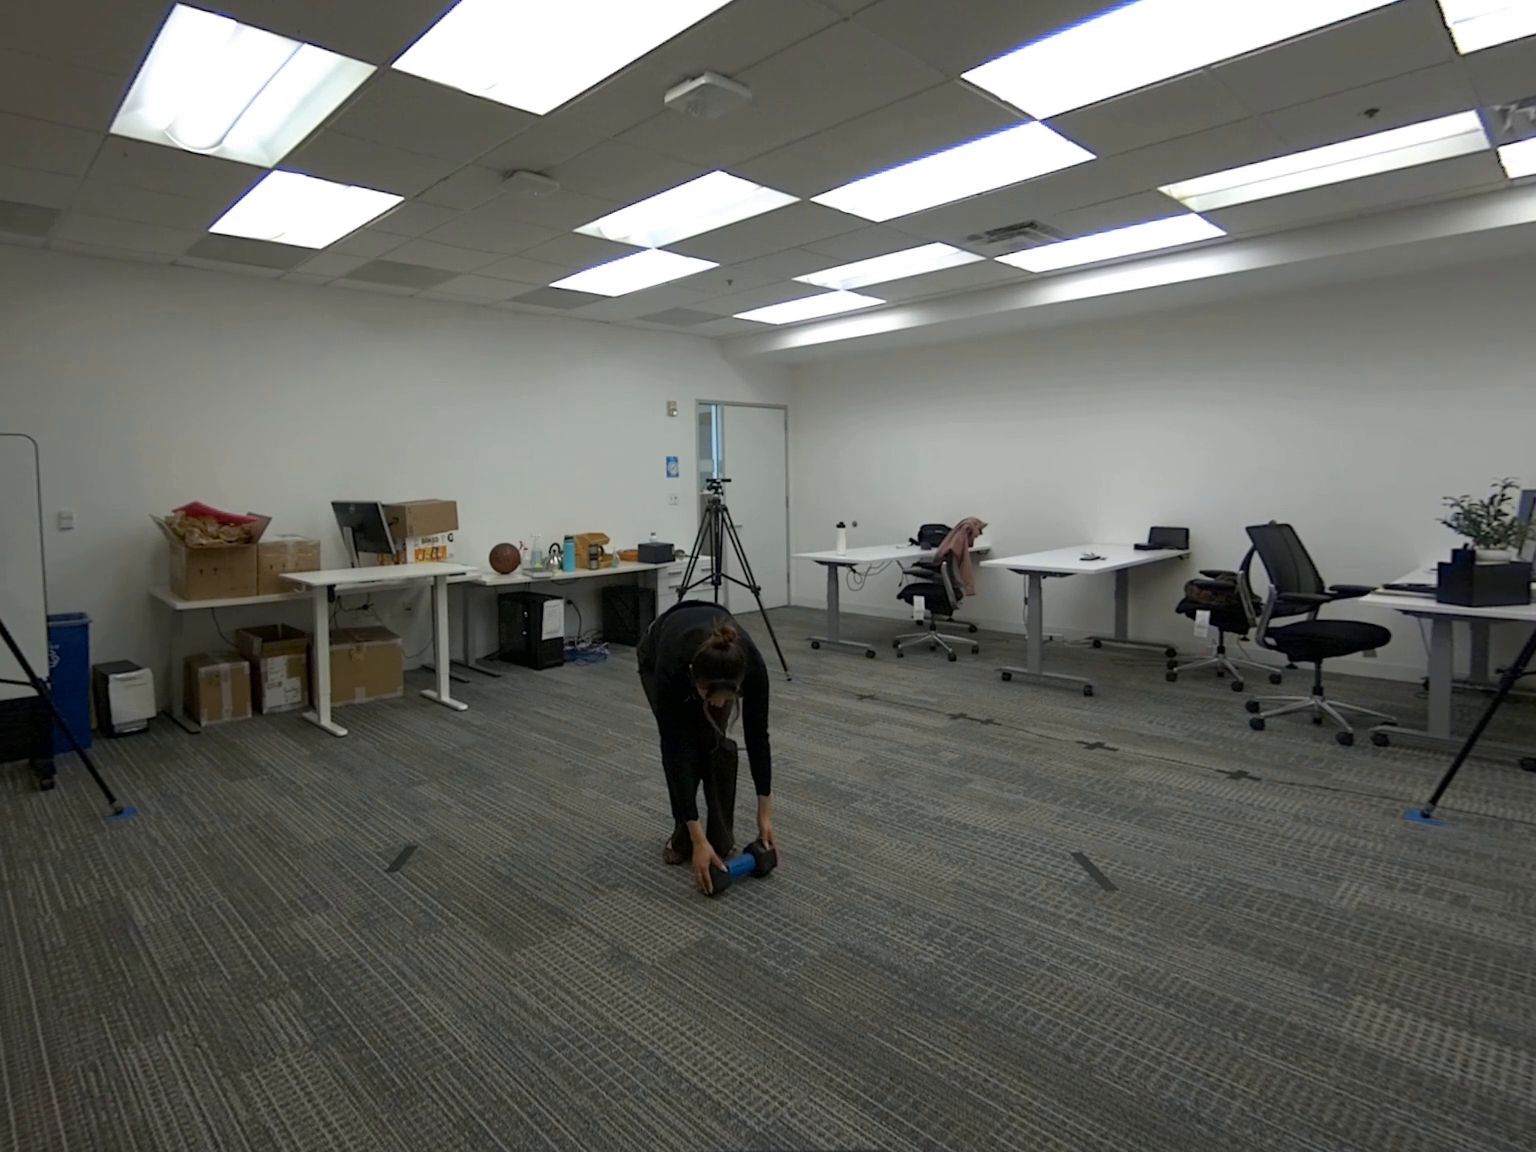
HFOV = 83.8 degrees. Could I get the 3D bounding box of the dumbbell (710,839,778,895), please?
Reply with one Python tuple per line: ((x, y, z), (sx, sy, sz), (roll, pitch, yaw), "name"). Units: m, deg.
((-0.110, 1.012, 2.958), (0.286, 0.107, 0.128), (-7, 27, -38), "dumbbell")
